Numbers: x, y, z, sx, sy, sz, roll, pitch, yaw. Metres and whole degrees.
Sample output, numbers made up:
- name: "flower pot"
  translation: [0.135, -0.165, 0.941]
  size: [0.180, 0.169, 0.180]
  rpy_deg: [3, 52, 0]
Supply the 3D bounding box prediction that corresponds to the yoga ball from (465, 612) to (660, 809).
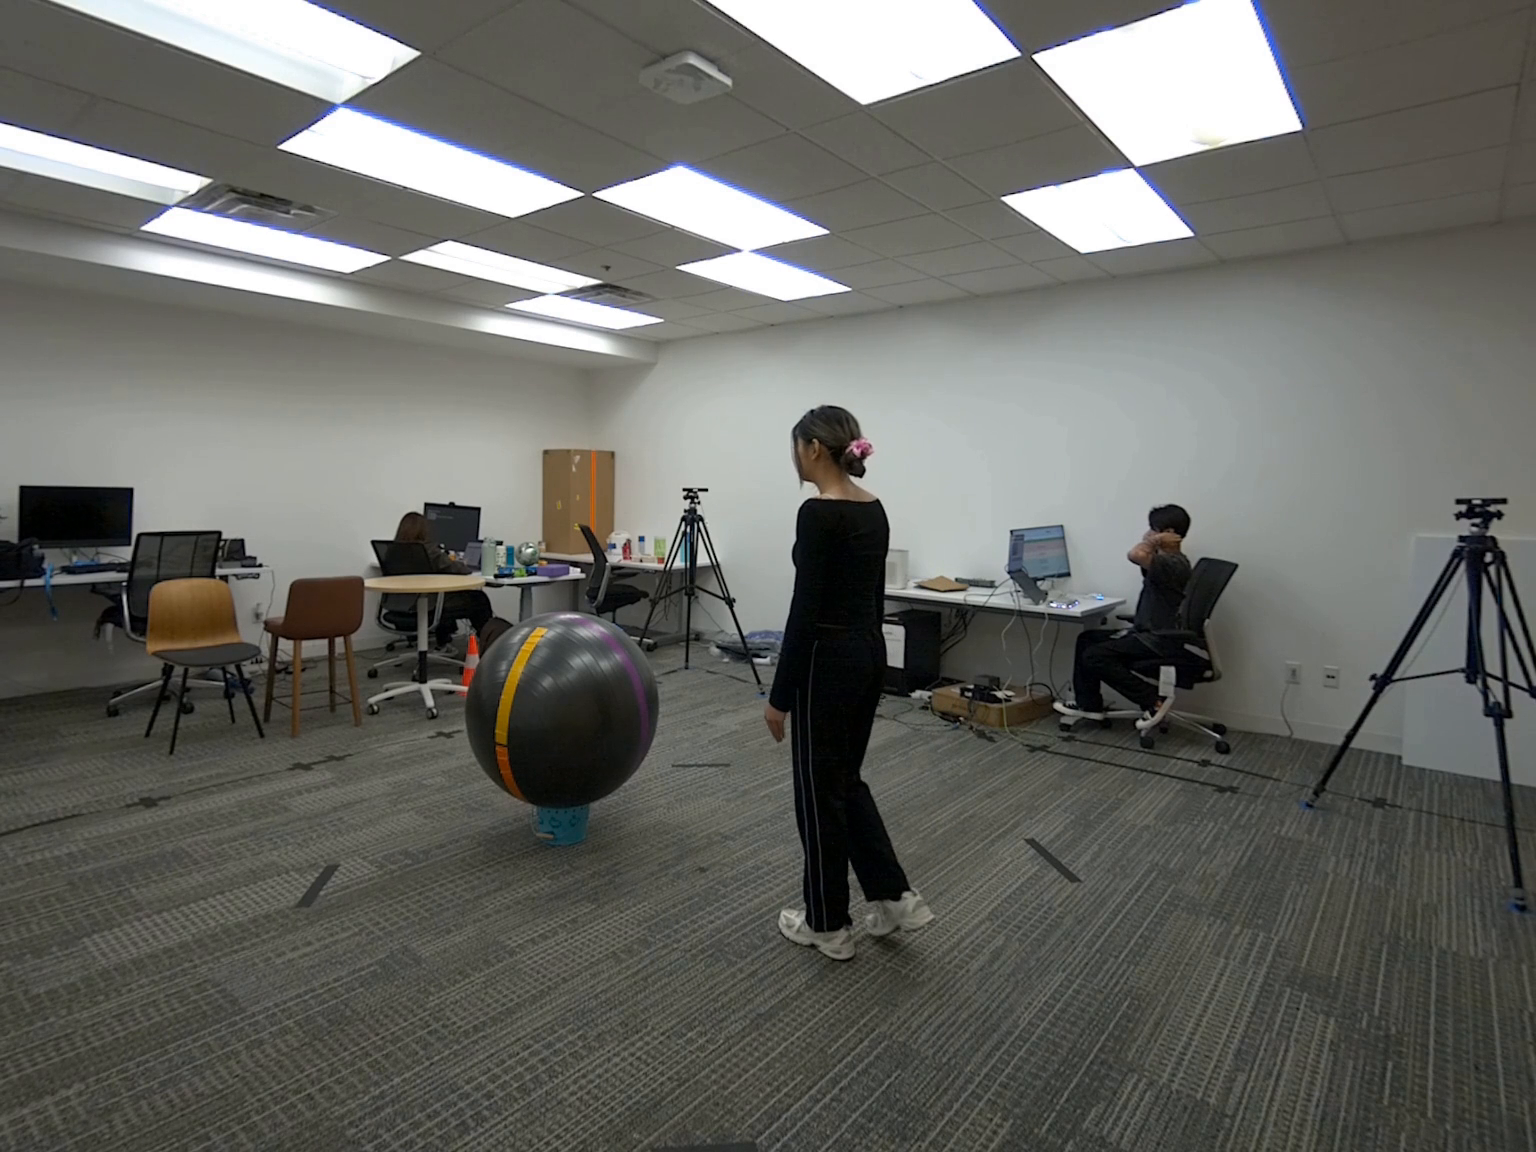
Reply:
- name: "yoga ball"
  translation: [-0.820, 0.521, 3.362]
  size: [0.757, 0.755, 0.762]
  rpy_deg: [1, 4, -2]
